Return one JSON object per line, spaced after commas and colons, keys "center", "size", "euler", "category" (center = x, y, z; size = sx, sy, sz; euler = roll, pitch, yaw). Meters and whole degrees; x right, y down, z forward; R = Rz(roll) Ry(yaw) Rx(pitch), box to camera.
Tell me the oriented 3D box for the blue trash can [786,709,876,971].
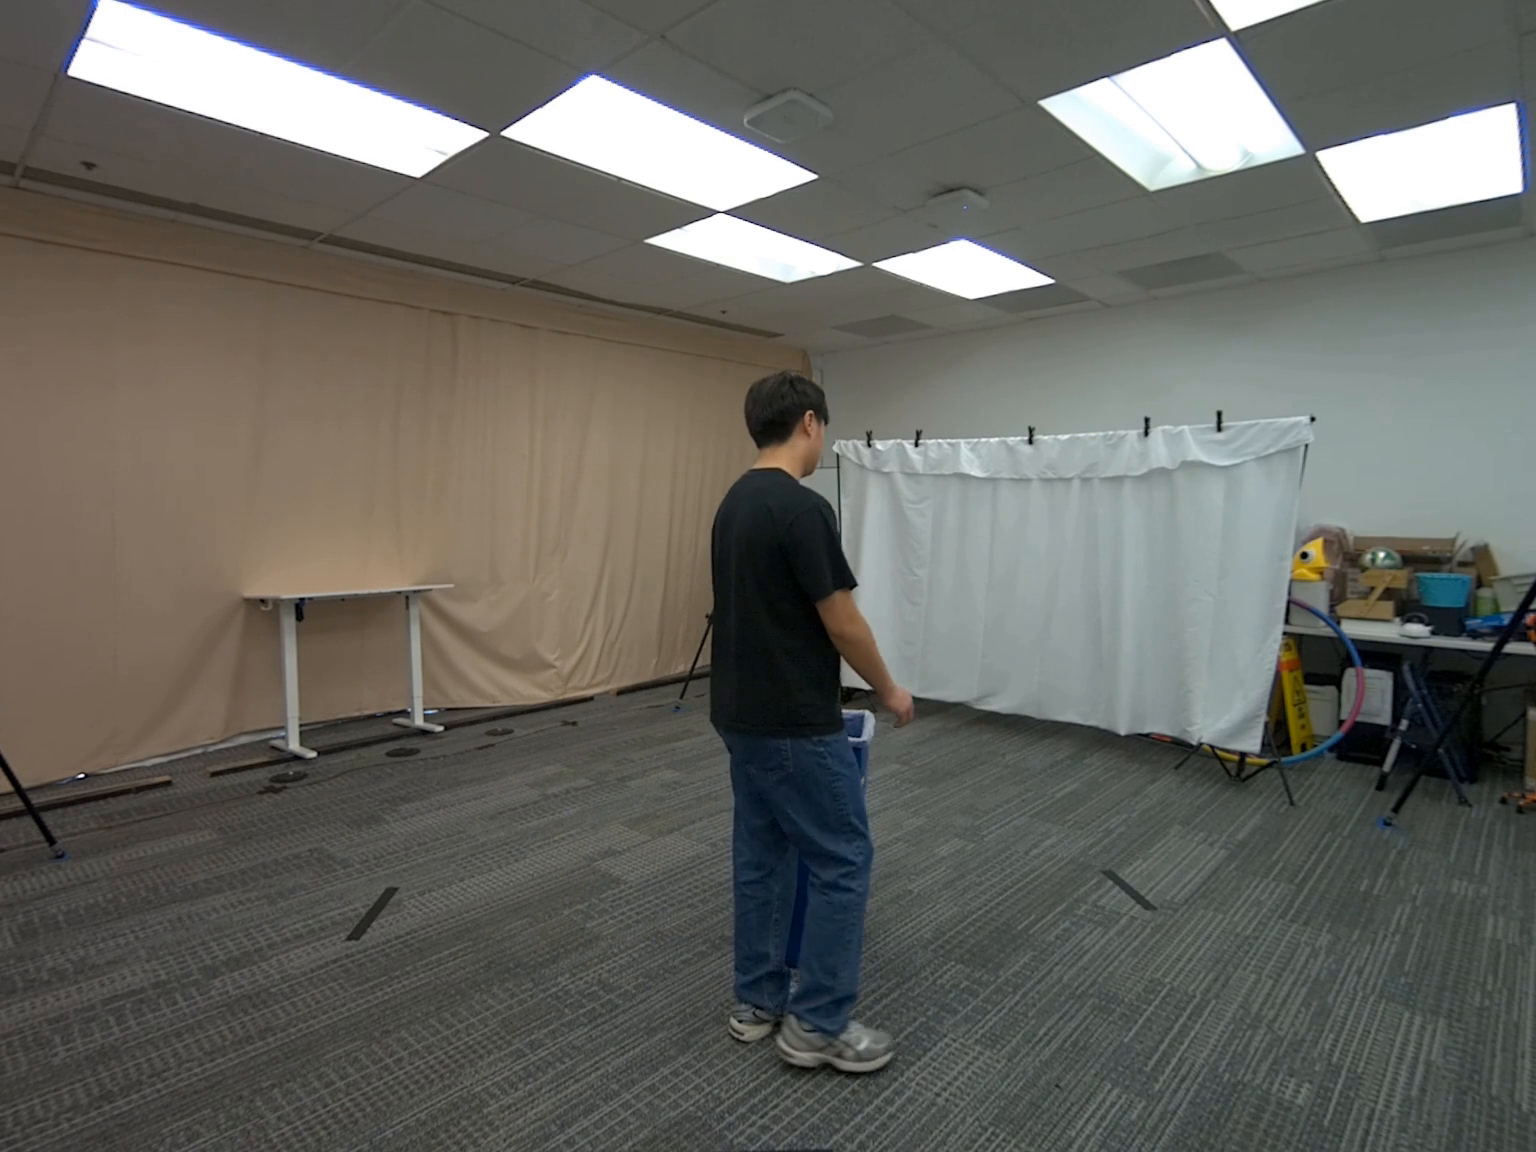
{"center": [0.142, 0.813, 2.646], "size": [0.383, 0.713, 0.369], "euler": [1, 2, 11], "category": "blue trash can"}
